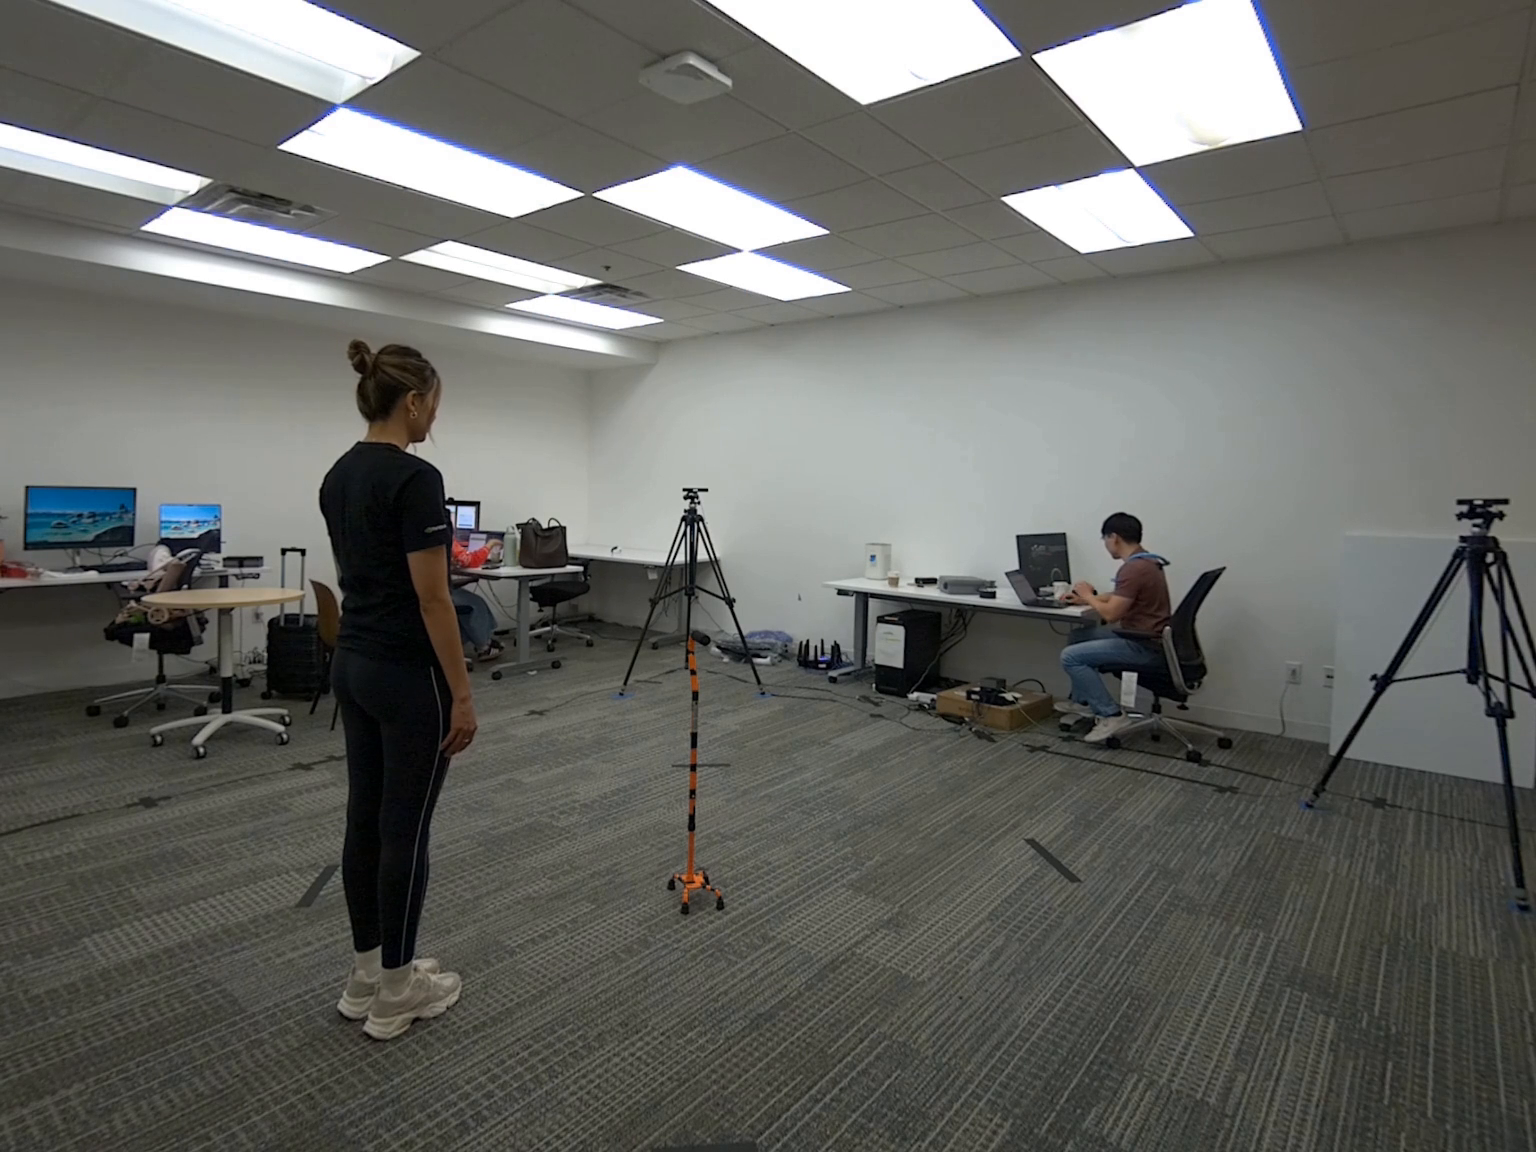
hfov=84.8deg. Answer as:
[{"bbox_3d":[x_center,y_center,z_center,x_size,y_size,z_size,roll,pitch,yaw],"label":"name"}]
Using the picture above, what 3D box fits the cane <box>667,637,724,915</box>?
[{"bbox_3d":[-0.247,0.639,2.864,0.148,0.905,0.211,0,3,-21],"label":"cane"}]
